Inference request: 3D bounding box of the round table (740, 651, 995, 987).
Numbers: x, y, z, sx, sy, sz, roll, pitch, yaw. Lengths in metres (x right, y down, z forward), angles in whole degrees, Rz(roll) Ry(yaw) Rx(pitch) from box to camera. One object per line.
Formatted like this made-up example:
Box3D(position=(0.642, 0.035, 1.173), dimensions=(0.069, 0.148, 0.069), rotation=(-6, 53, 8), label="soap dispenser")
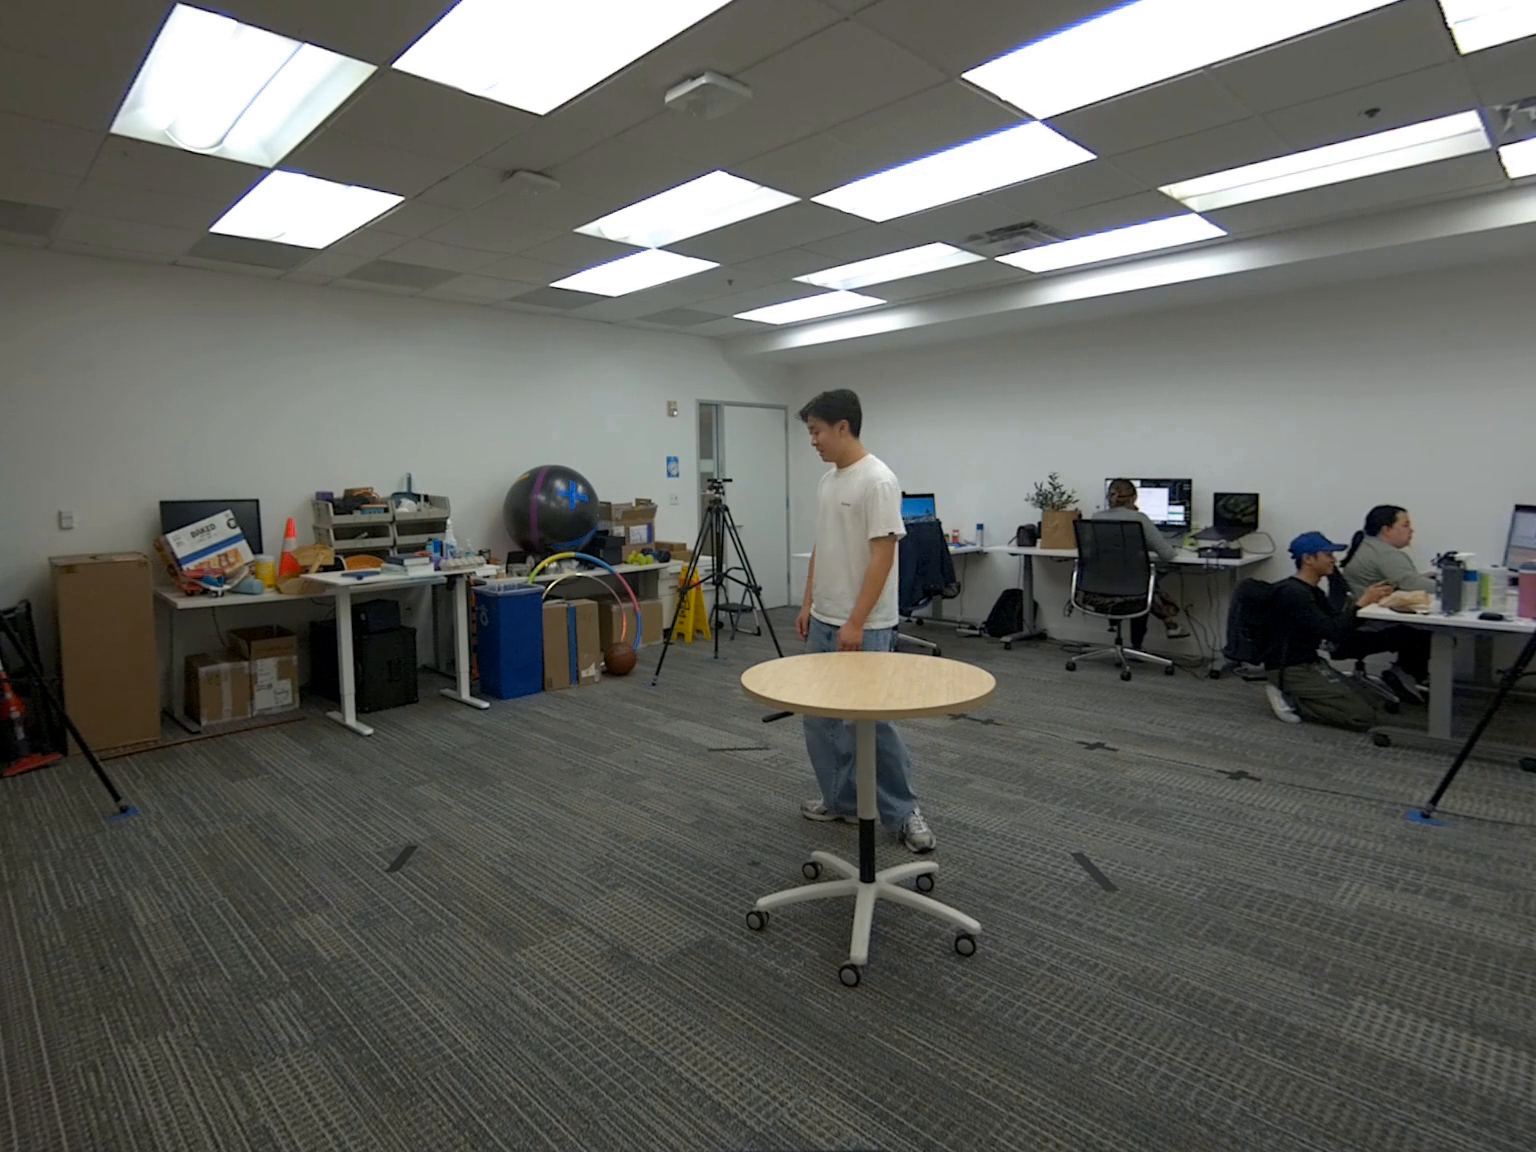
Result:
Box3D(position=(0.307, 0.704, 2.656), dimensions=(0.763, 0.791, 0.768), rotation=(-1, 5, -2), label="round table")
